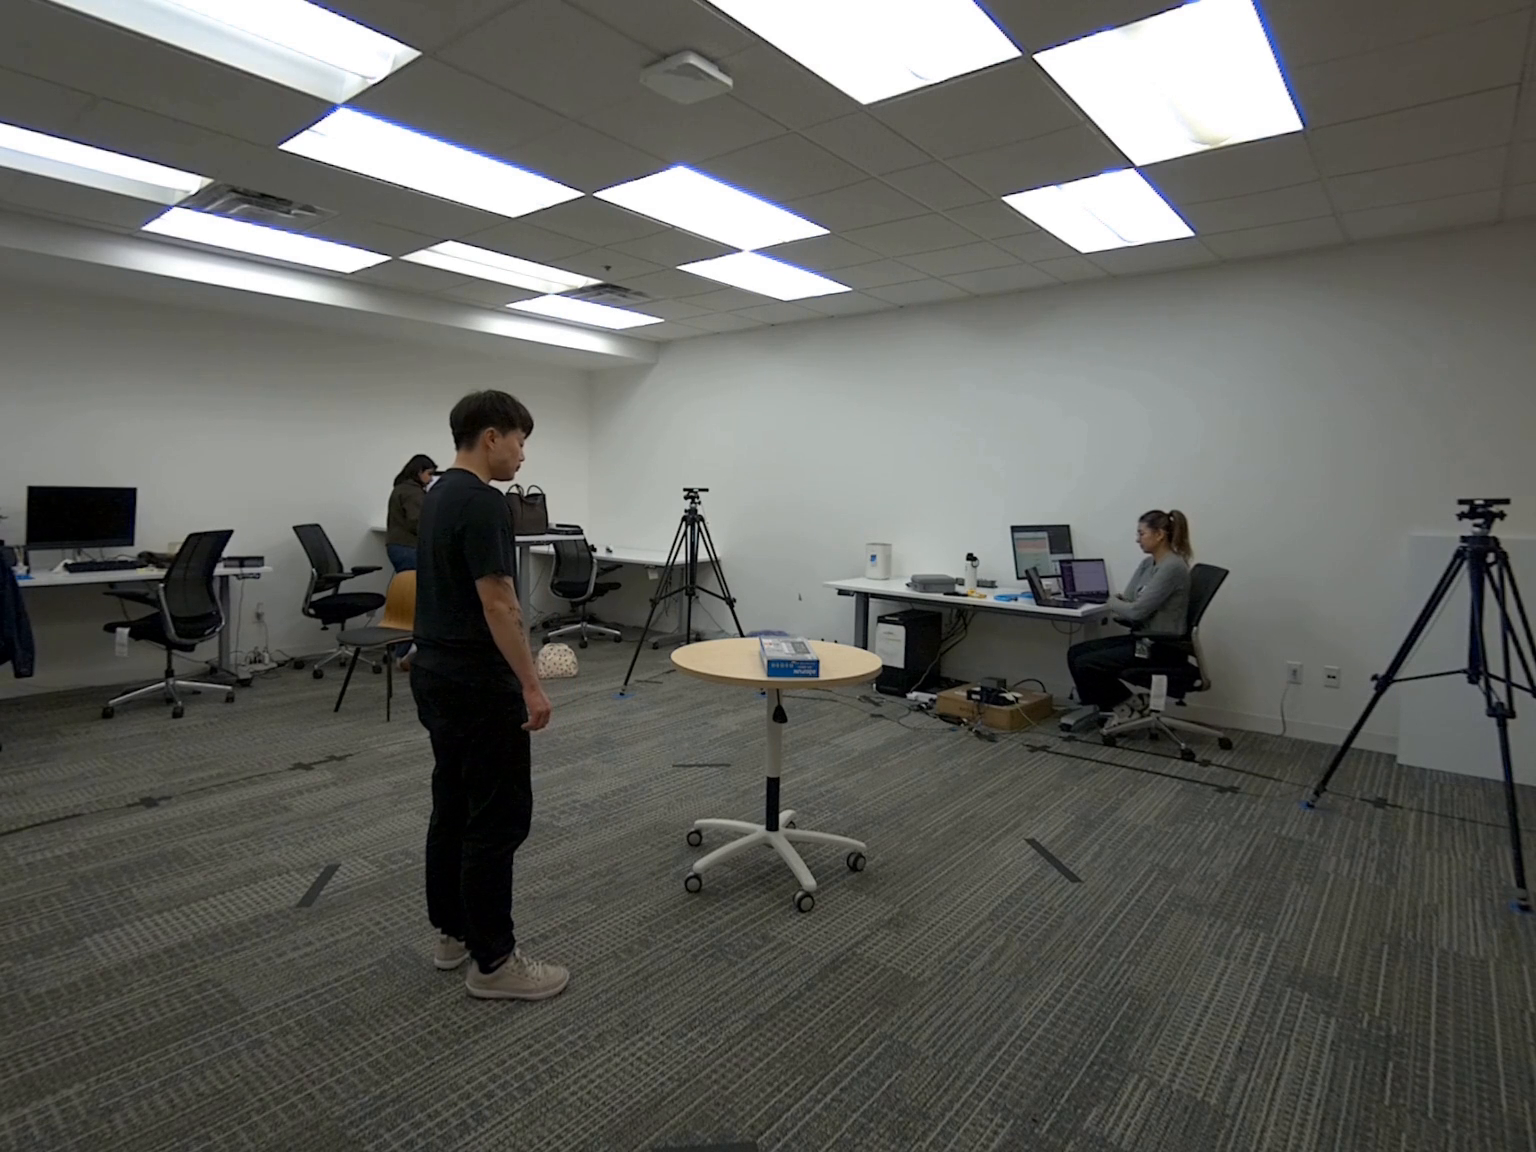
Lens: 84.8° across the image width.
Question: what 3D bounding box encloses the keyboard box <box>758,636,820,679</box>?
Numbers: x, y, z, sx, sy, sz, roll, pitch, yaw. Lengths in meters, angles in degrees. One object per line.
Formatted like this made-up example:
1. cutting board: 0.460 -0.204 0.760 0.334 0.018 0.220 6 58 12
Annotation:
1. keyboard box: 0.058 0.274 2.986 0.175 0.059 0.440 1 6 -5
